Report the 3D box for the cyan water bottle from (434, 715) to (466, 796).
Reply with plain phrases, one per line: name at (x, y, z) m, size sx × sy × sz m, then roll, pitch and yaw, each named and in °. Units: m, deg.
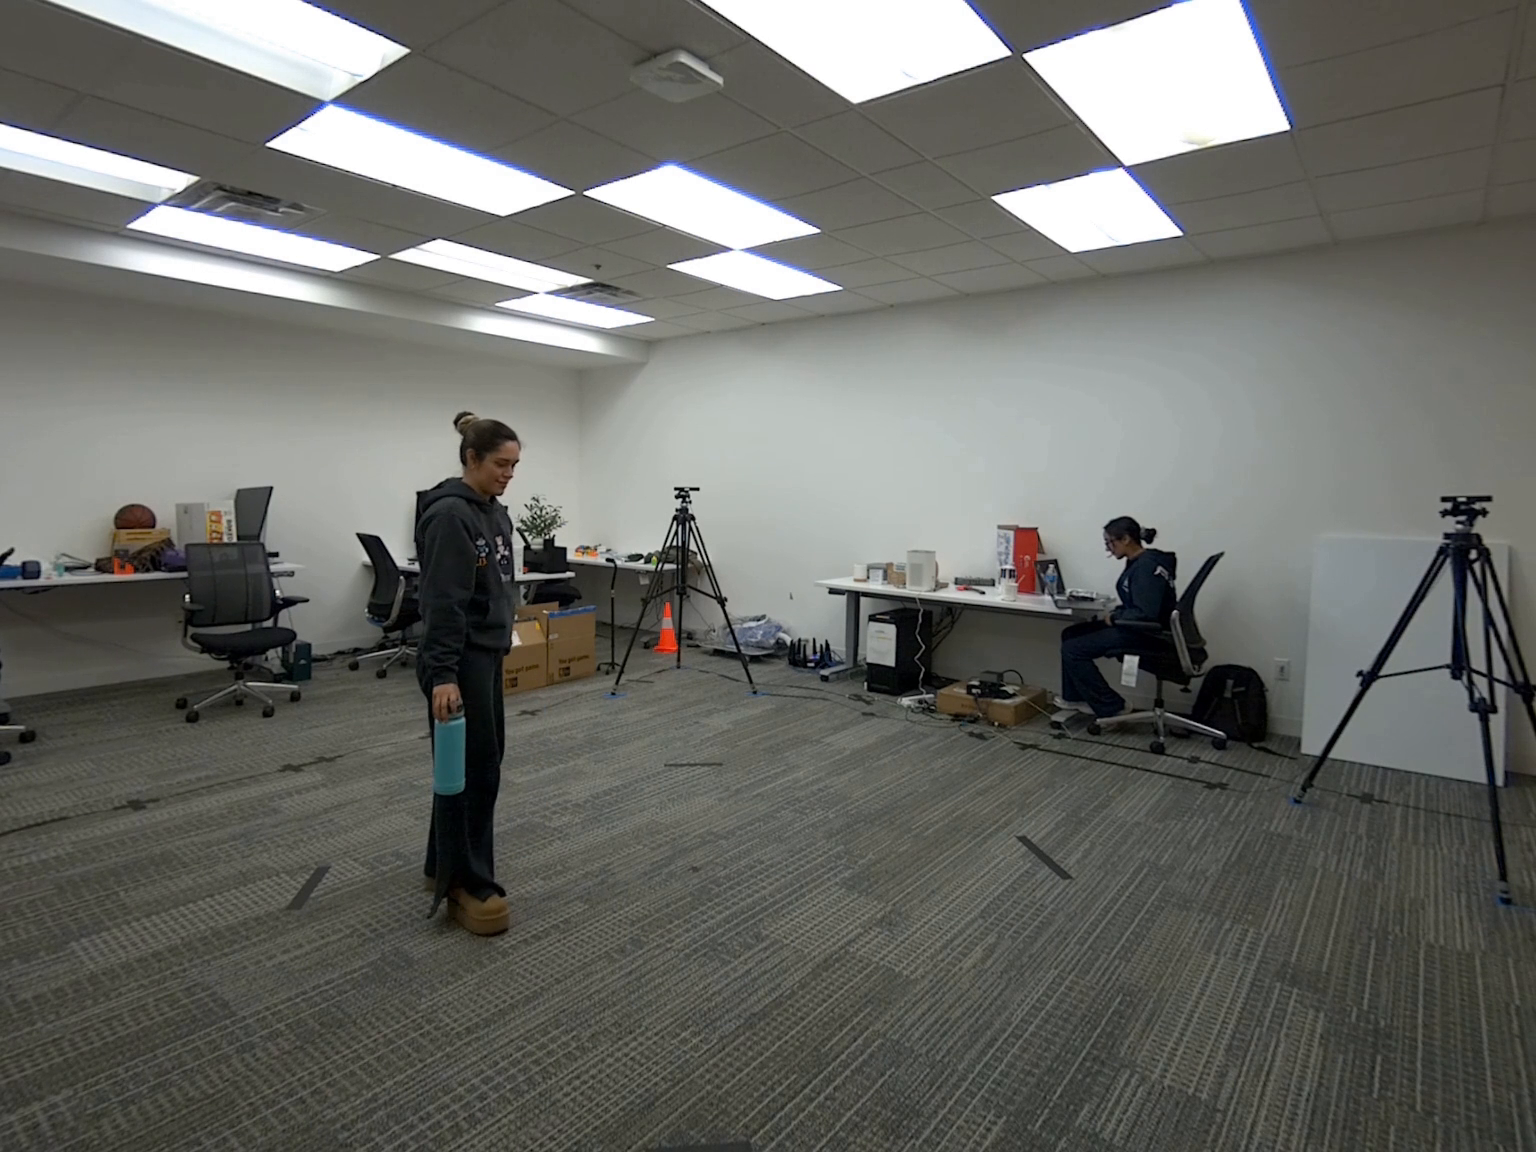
cyan water bottle at (-0.976, 0.506, 2.561) m, size 0.092 × 0.282 × 0.093 m, roll 3°, pitch 7°, yaw -2°
